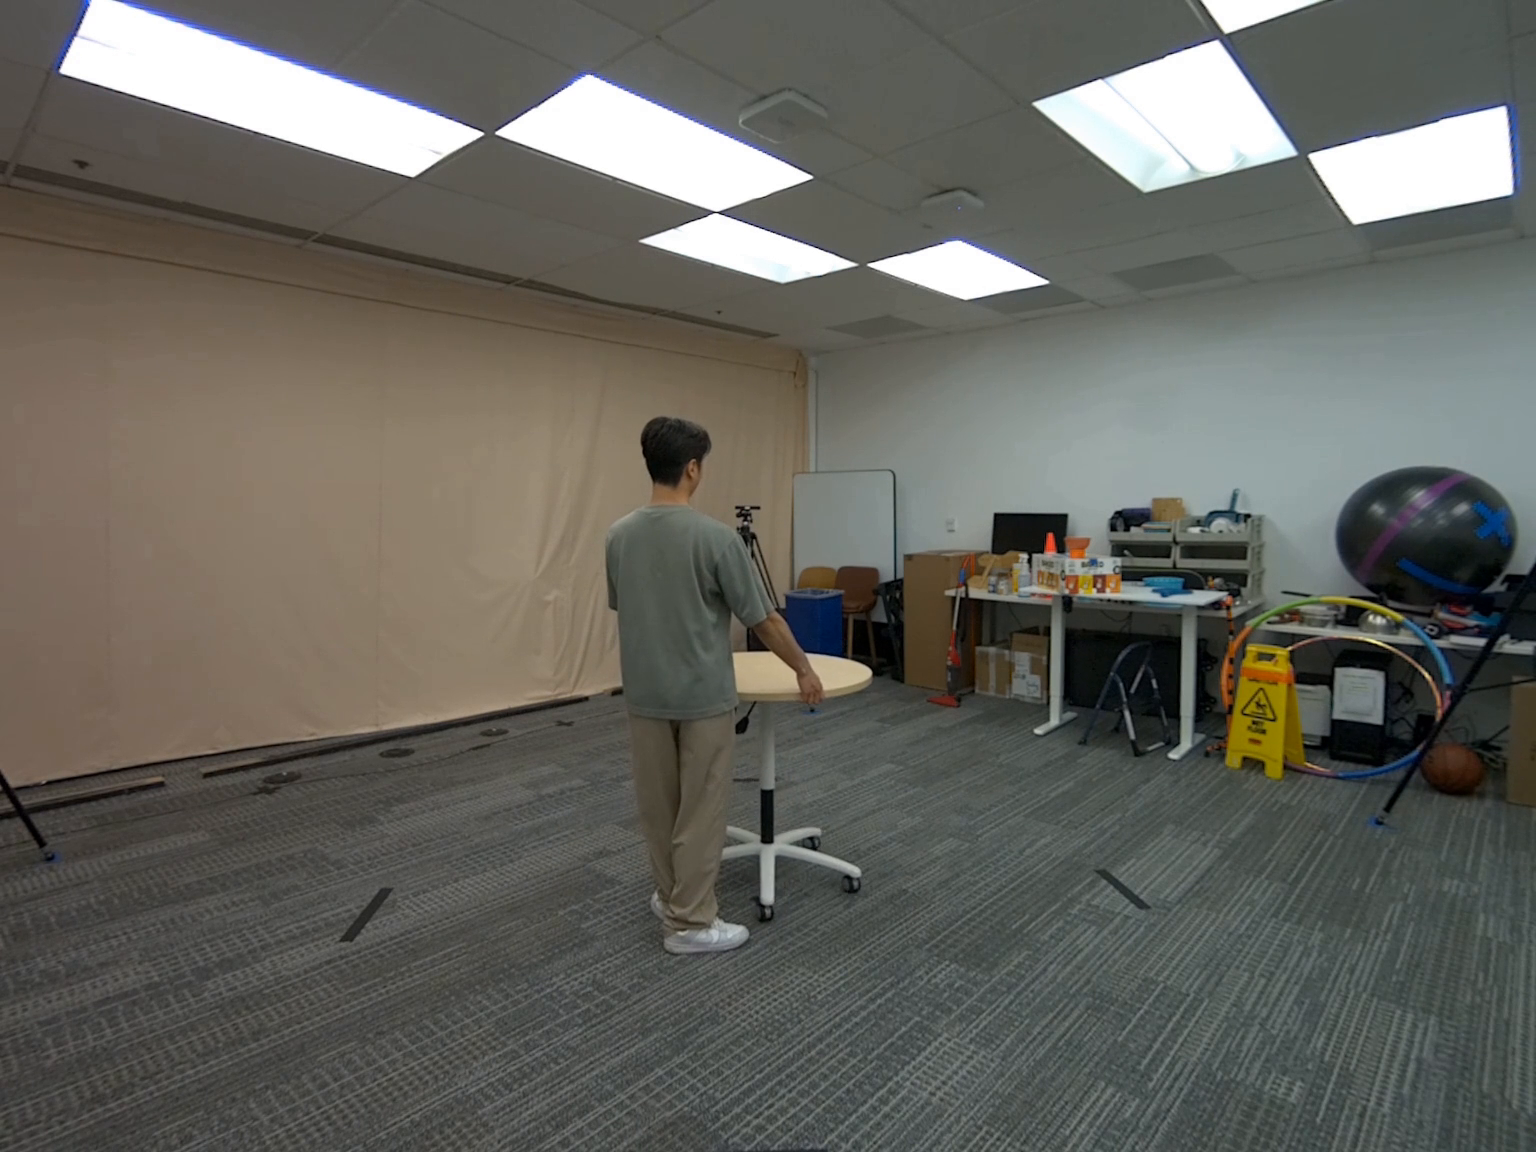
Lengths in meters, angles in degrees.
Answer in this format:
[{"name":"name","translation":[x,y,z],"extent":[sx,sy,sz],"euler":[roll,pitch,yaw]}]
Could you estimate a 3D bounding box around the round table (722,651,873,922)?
[{"name":"round table","translation":[0.012,0.737,3.136],"extent":[0.784,0.784,0.788],"euler":[0,4,-2]}]
